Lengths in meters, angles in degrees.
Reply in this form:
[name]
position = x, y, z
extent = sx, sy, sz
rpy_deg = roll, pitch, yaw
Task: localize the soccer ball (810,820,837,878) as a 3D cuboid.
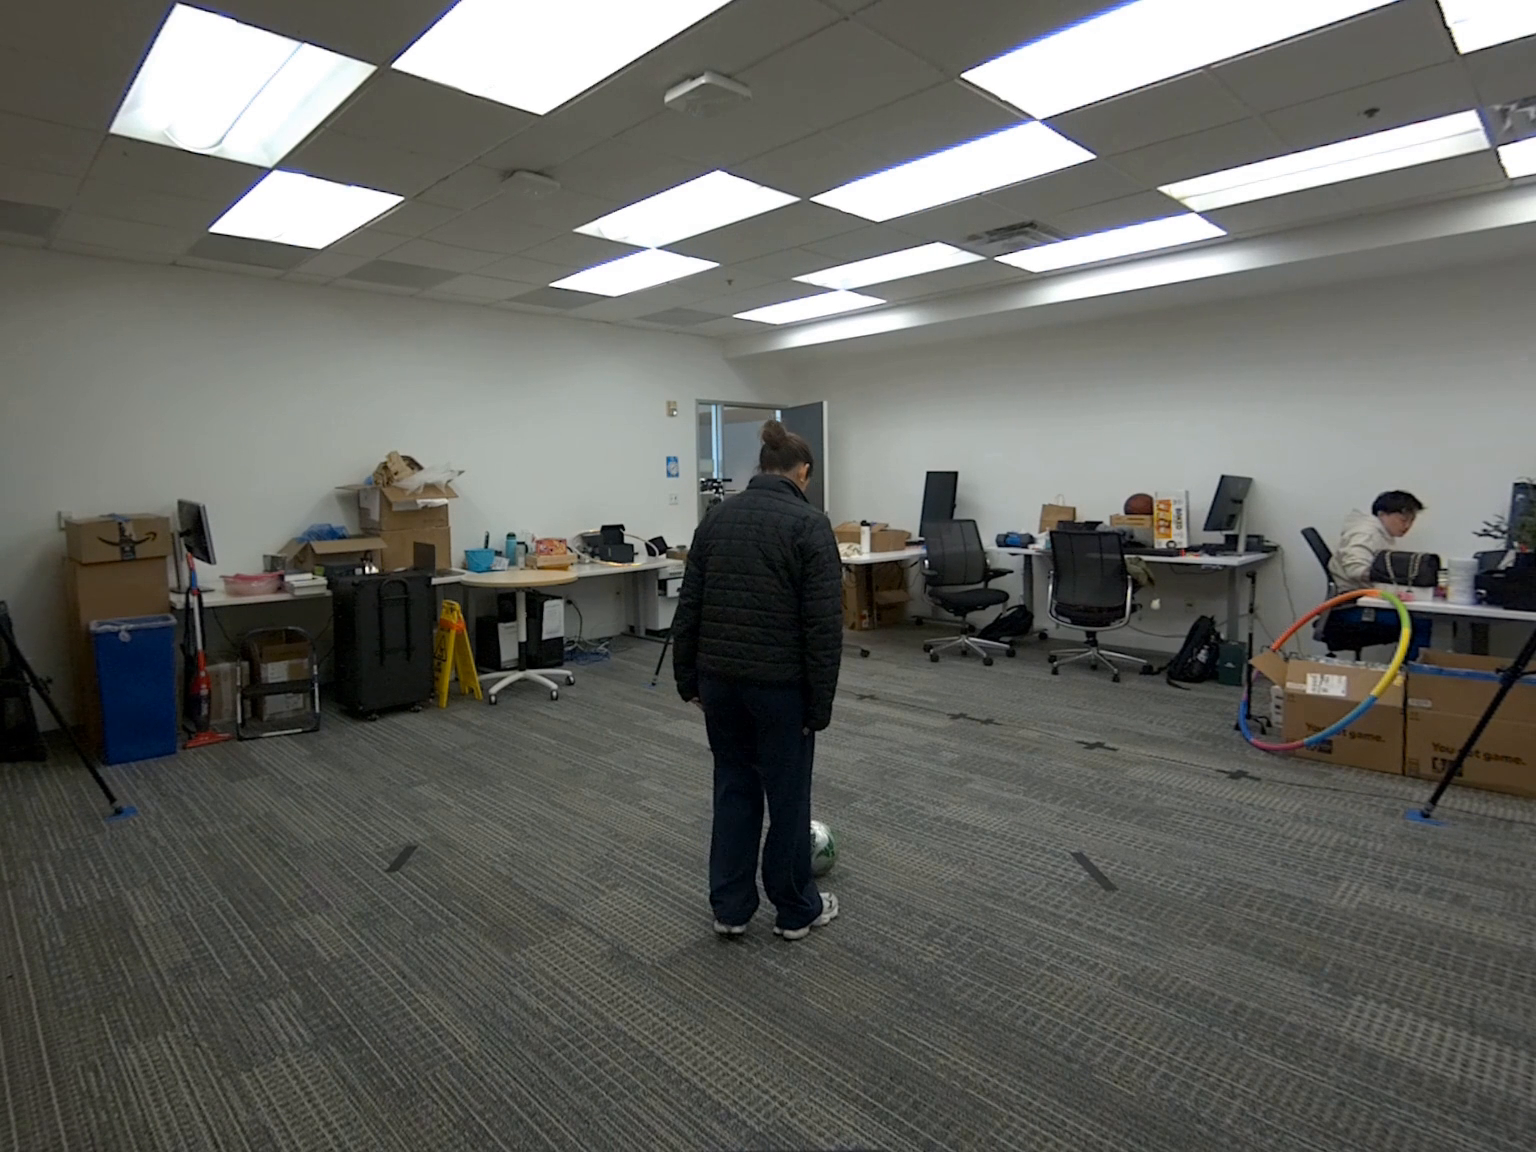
[soccer ball]
position = 0.162, 0.958, 3.012
extent = 0.187, 0.187, 0.188
rpy_deg = -1, 5, -2
